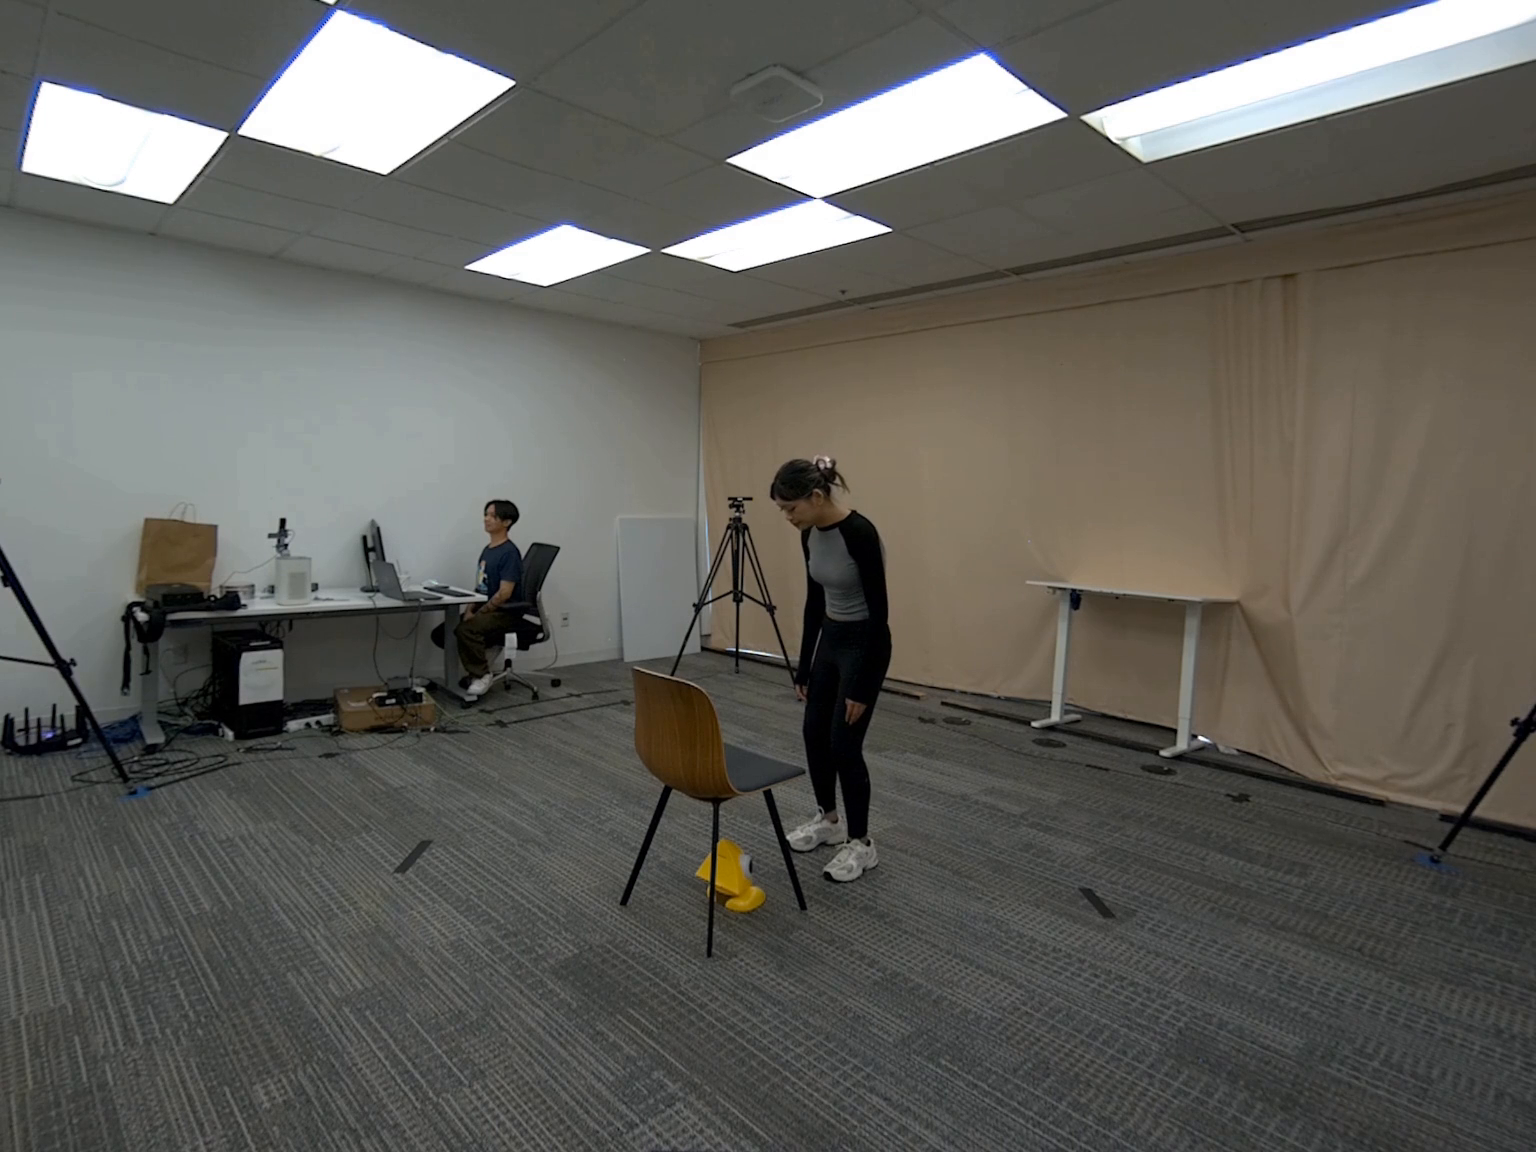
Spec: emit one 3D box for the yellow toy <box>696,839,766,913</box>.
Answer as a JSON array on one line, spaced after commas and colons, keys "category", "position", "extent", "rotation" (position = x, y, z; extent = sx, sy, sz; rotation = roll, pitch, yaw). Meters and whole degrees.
[{"category": "yellow toy", "position": [-0.124, 1.014, 2.928], "extent": [0.210, 0.230, 0.189], "rotation": [4, 5, 43]}]
